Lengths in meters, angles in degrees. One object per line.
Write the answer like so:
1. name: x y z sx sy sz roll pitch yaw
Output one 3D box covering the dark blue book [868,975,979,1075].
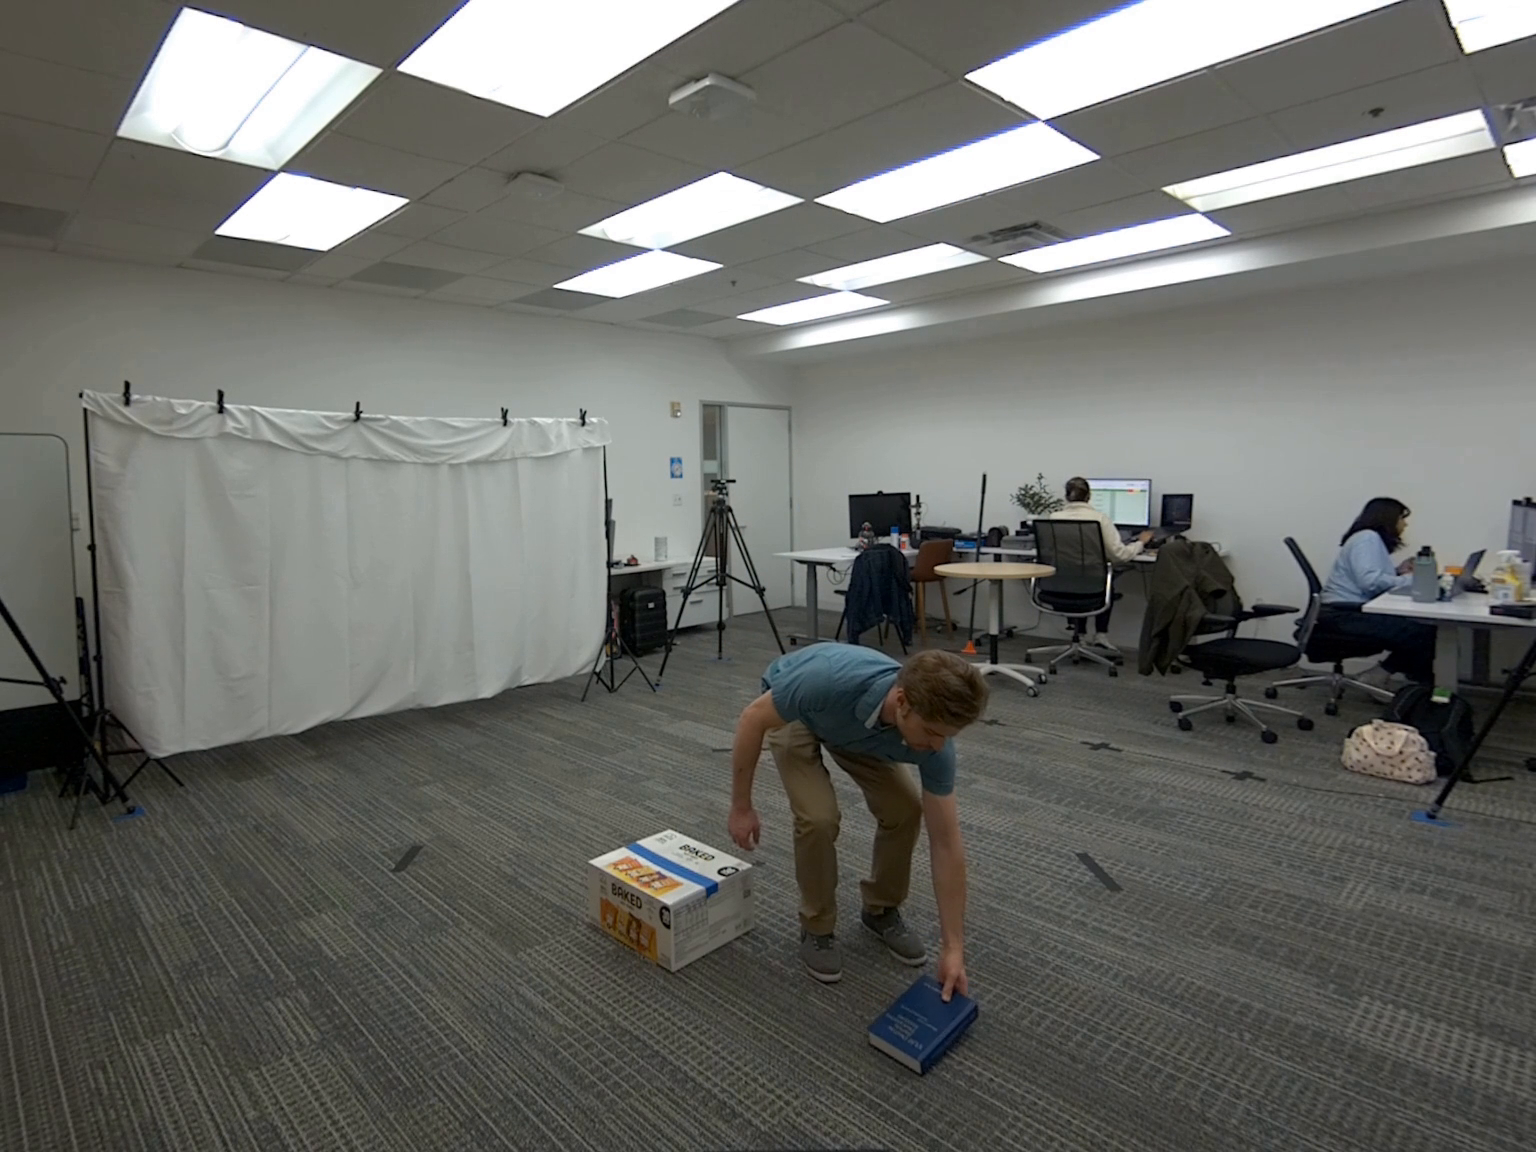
1. dark blue book: 0.386 1.119 2.124 0.240 0.044 0.168 -20 17 -40
